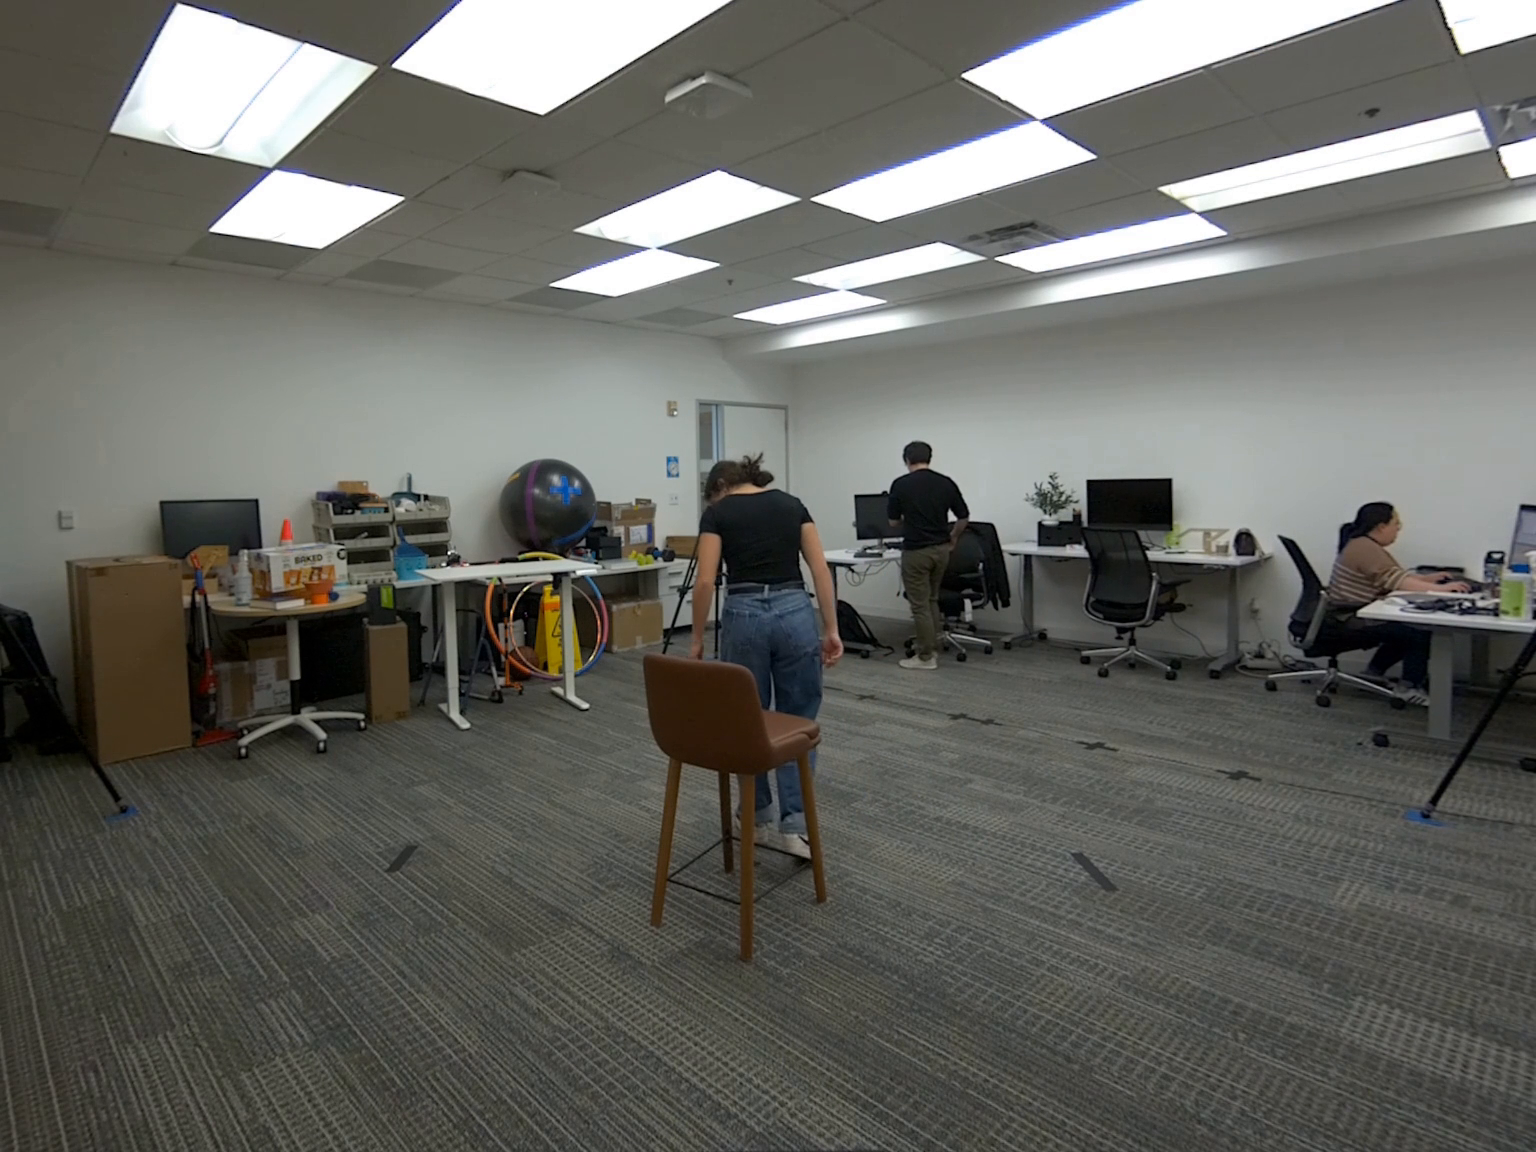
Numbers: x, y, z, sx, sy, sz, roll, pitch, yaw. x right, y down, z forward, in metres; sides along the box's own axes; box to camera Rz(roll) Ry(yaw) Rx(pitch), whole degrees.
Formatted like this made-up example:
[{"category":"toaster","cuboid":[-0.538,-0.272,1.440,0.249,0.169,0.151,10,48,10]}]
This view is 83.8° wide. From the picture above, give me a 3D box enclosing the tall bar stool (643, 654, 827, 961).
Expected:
[{"category":"tall bar stool","cuboid":[-0.107,0.657,2.730,0.470,0.885,0.457,2,7,35]}]
